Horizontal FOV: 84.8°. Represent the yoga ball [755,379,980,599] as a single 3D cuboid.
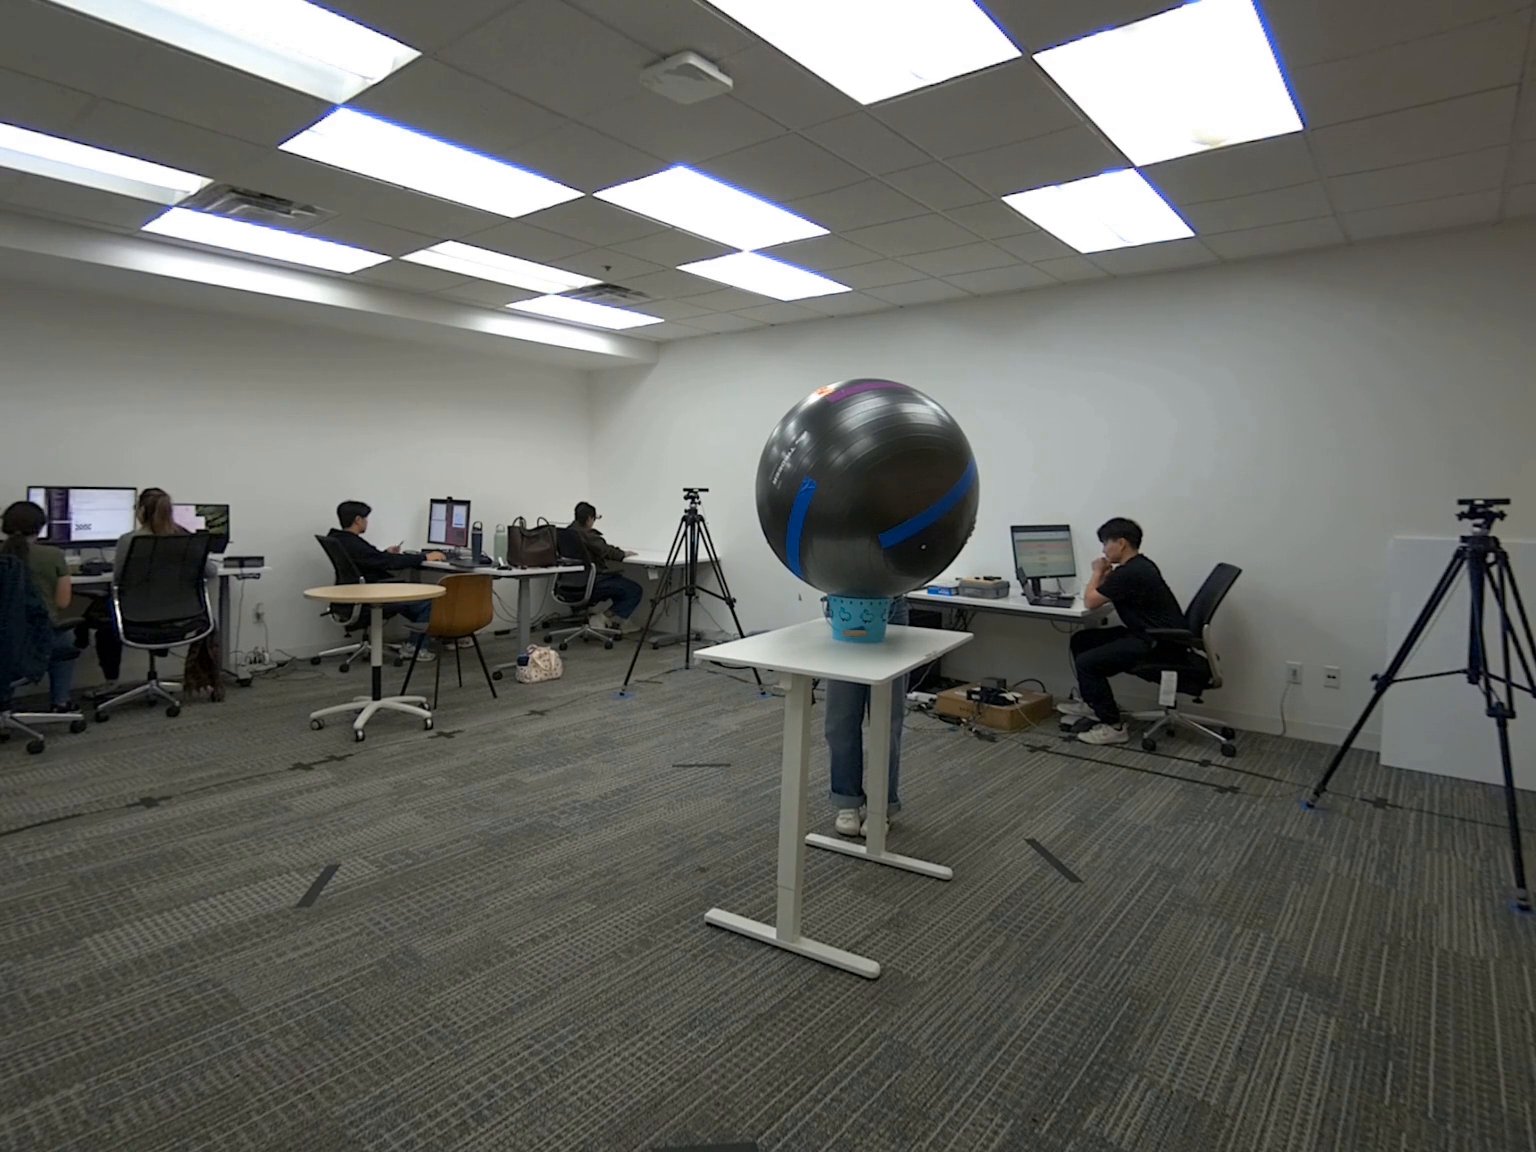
[{"bbox_3d":[0.331,-0.292,2.933,0.757,0.756,0.762,1,4,-2],"label":"yoga ball"}]
